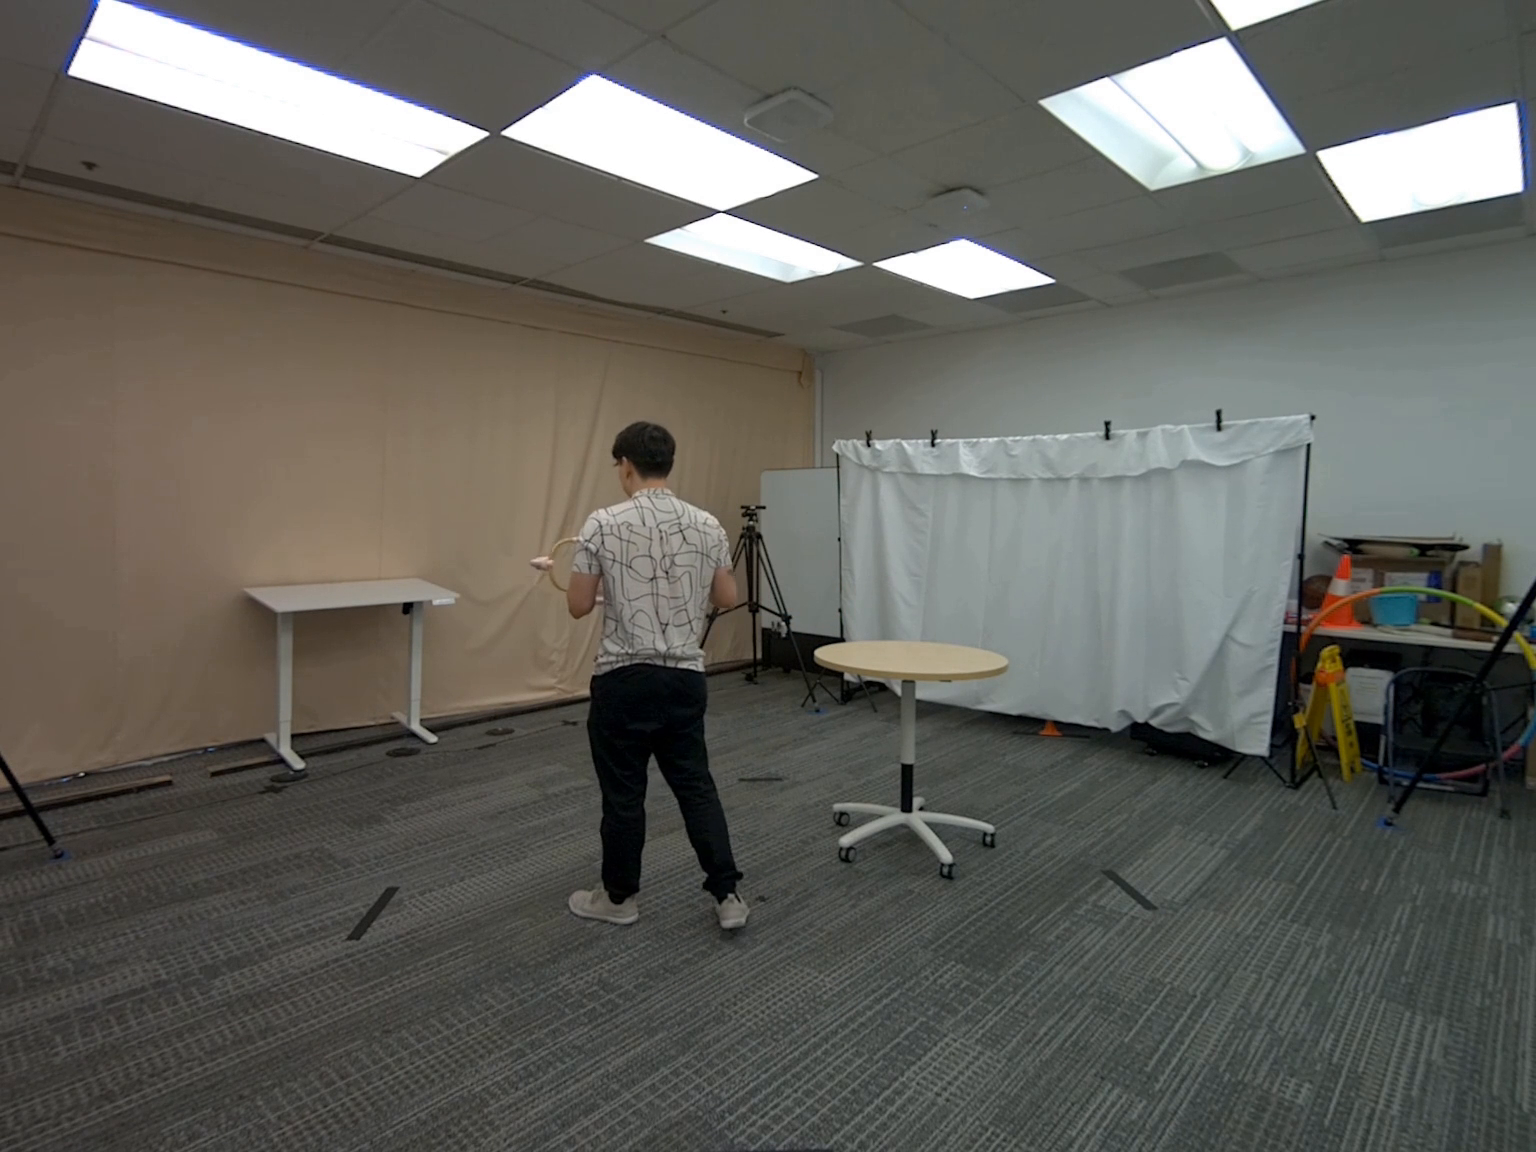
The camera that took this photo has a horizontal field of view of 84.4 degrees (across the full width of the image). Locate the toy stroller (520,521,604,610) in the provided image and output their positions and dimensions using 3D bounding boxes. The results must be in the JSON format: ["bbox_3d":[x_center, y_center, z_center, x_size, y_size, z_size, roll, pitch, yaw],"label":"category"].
[{"bbox_3d":[-0.570,-0.033,3.099,0.548,0.283,0.332,0,-8,23],"label":"toy stroller"}]
